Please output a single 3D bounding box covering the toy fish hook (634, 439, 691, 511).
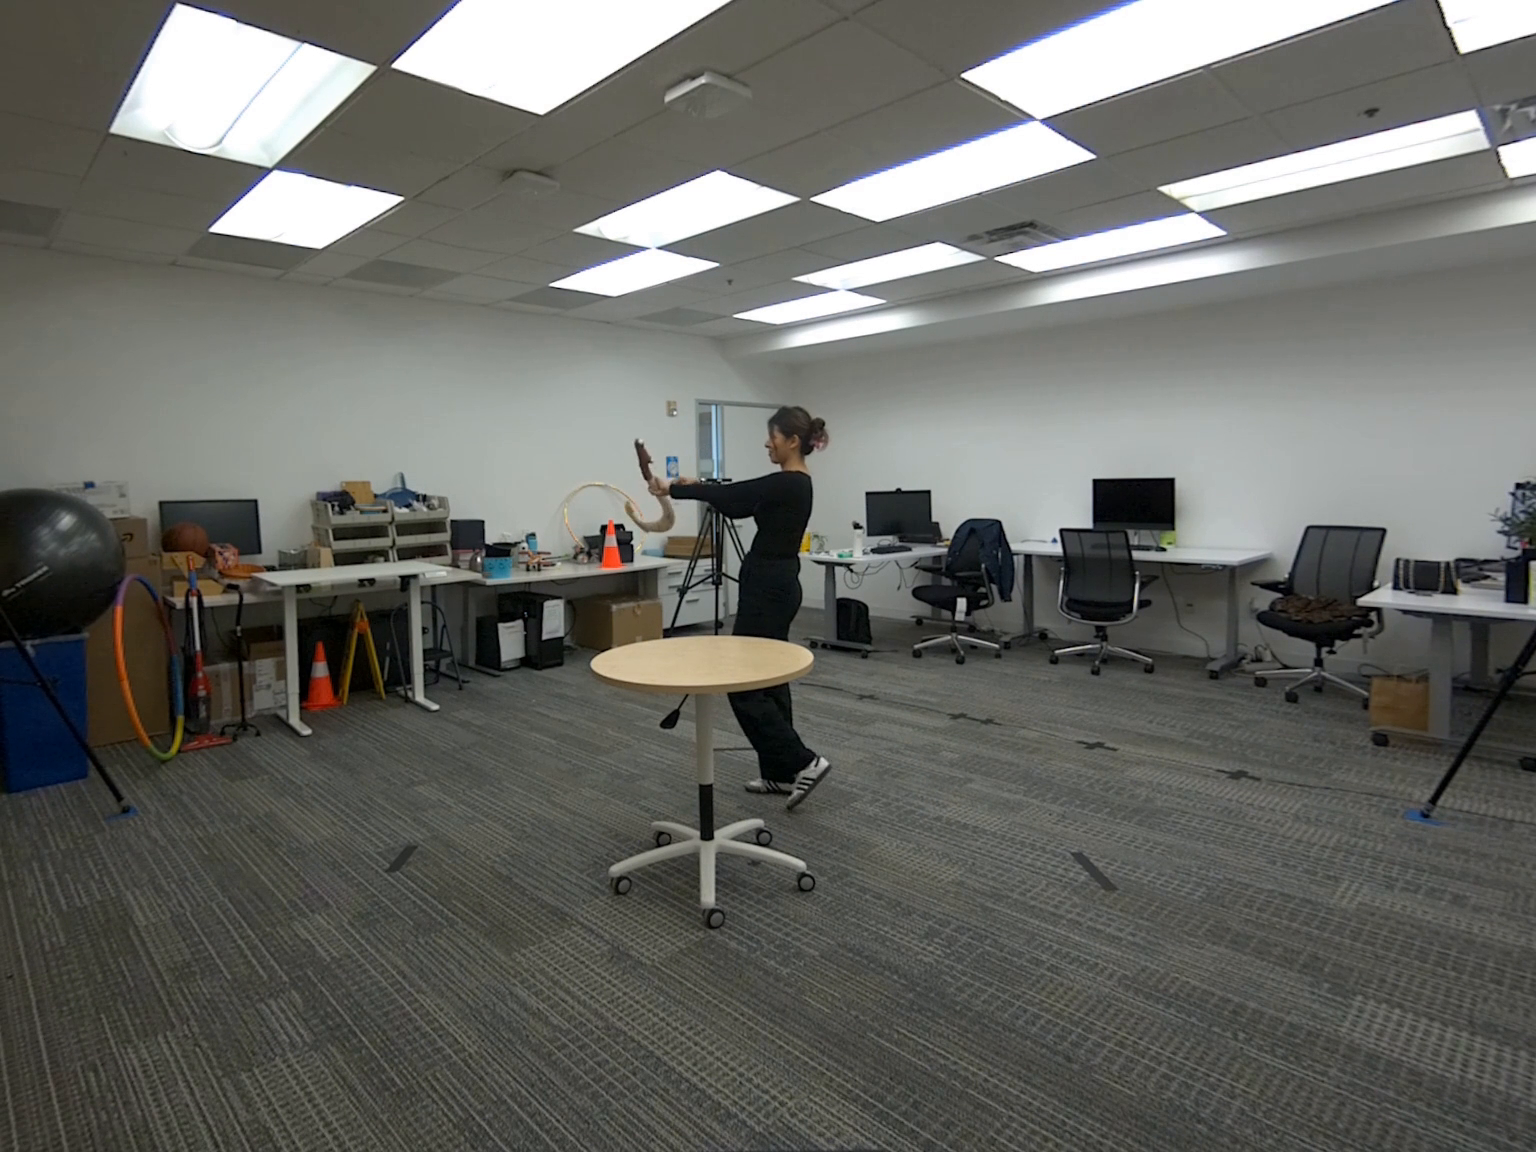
[{"bbox_3d":[-0.557,-0.389,3.773,0.227,0.490,0.049,-6,37,13],"label":"toy fish hook"}]
